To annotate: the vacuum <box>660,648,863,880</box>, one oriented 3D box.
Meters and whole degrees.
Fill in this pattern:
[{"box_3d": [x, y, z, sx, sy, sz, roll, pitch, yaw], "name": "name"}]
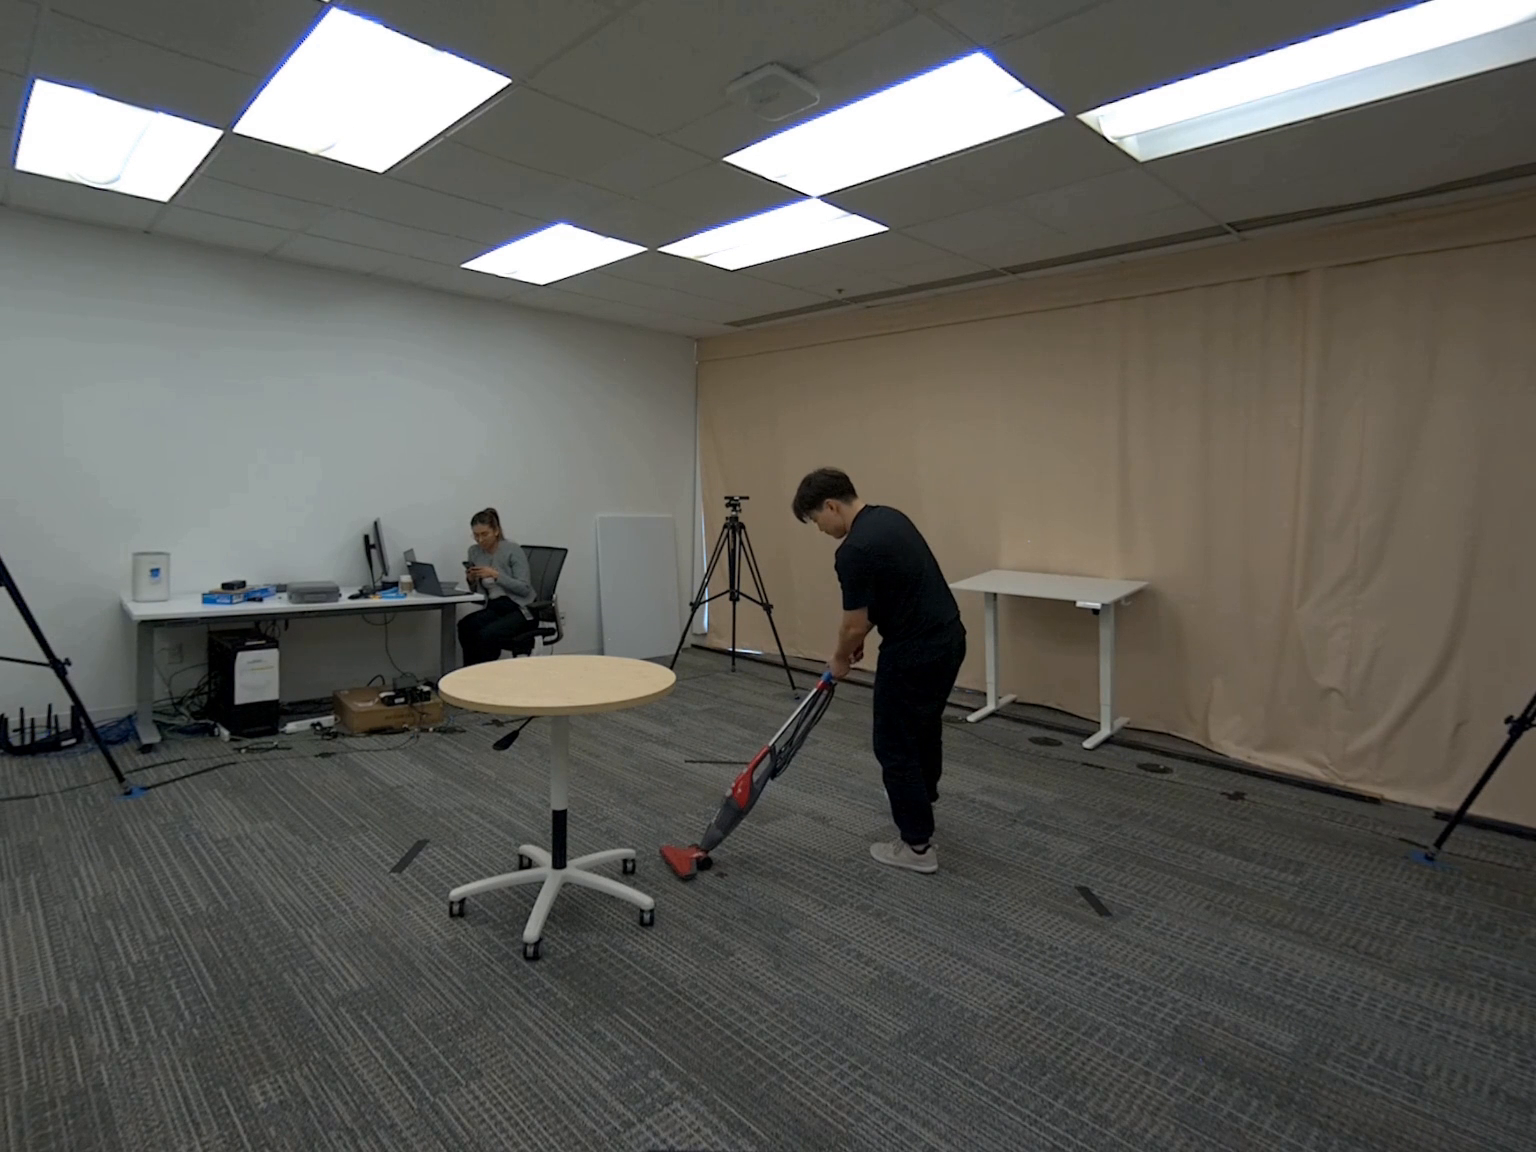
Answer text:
[{"box_3d": [0.016, 0.704, 3.312, 0.141, 1.049, 0.258, 49, -18, -24], "name": "vacuum"}]
